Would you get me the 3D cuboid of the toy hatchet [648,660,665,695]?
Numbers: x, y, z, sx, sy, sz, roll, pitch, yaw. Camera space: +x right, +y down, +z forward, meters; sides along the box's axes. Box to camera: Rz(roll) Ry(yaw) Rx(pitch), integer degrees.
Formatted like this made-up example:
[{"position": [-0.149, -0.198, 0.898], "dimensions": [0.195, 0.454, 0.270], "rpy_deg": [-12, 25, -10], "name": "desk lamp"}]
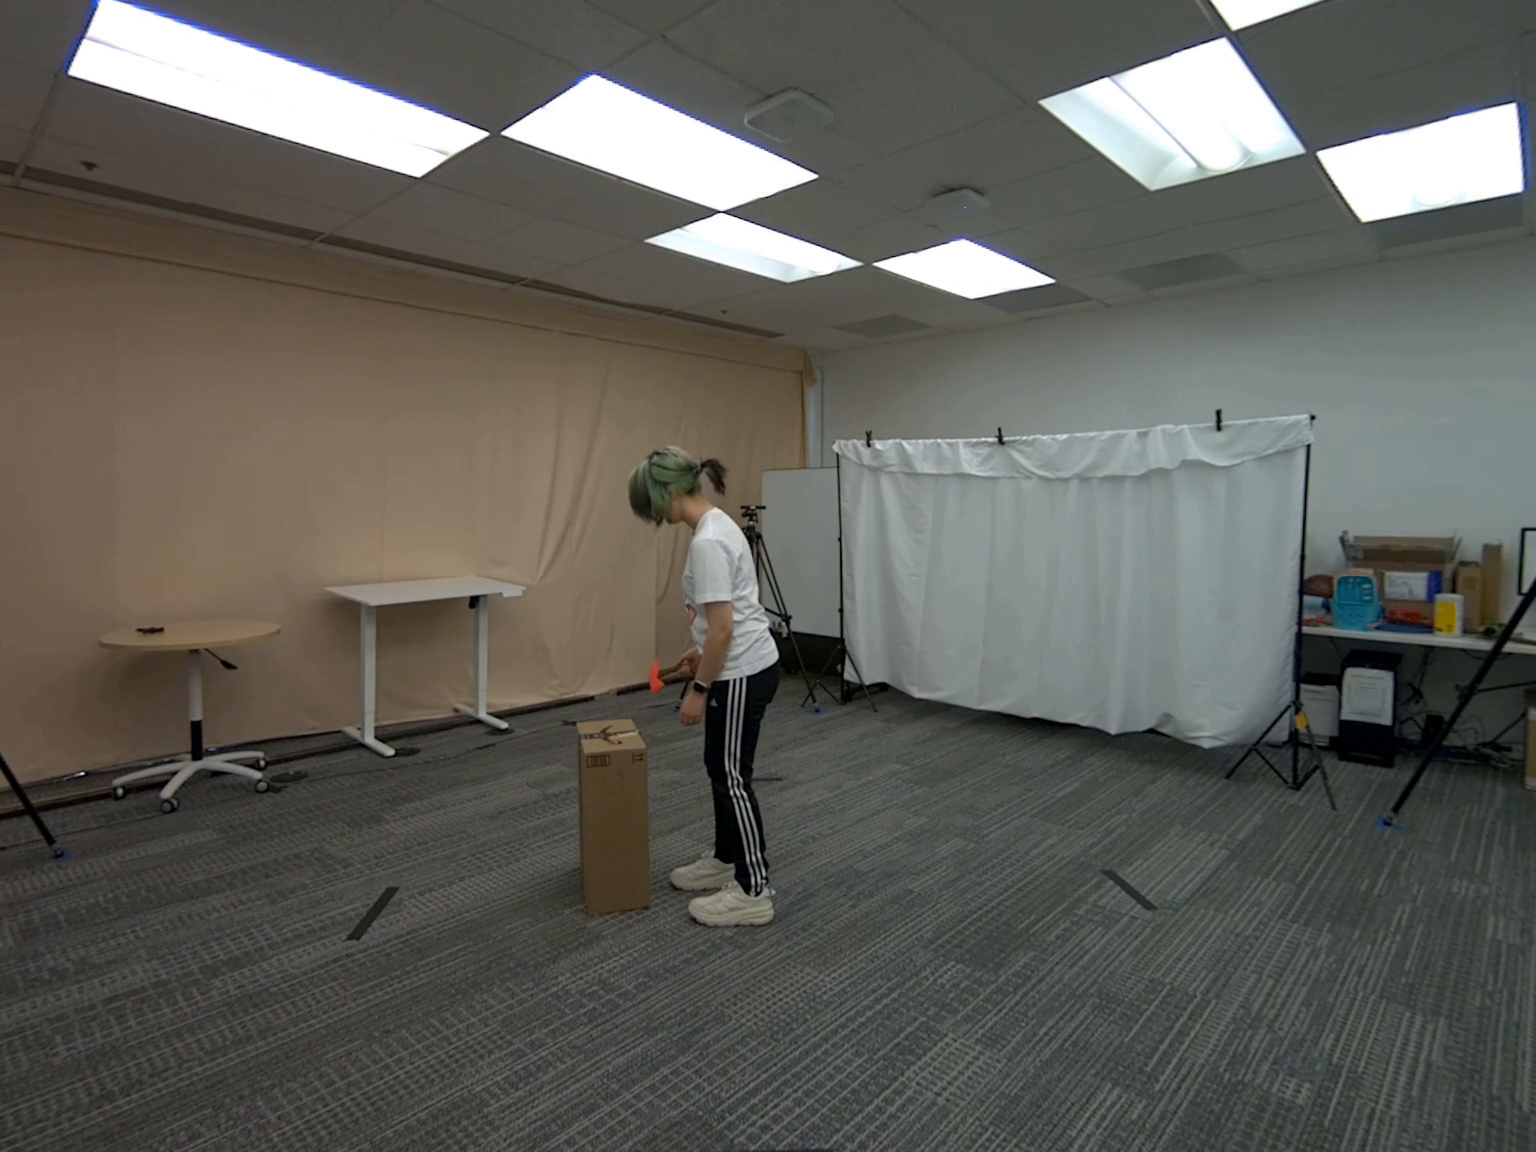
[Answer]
[{"position": [-0.362, 0.388, 3.152], "dimensions": [0.279, 0.131, 0.028], "rpy_deg": [3, -24, 47], "name": "toy hatchet"}]
